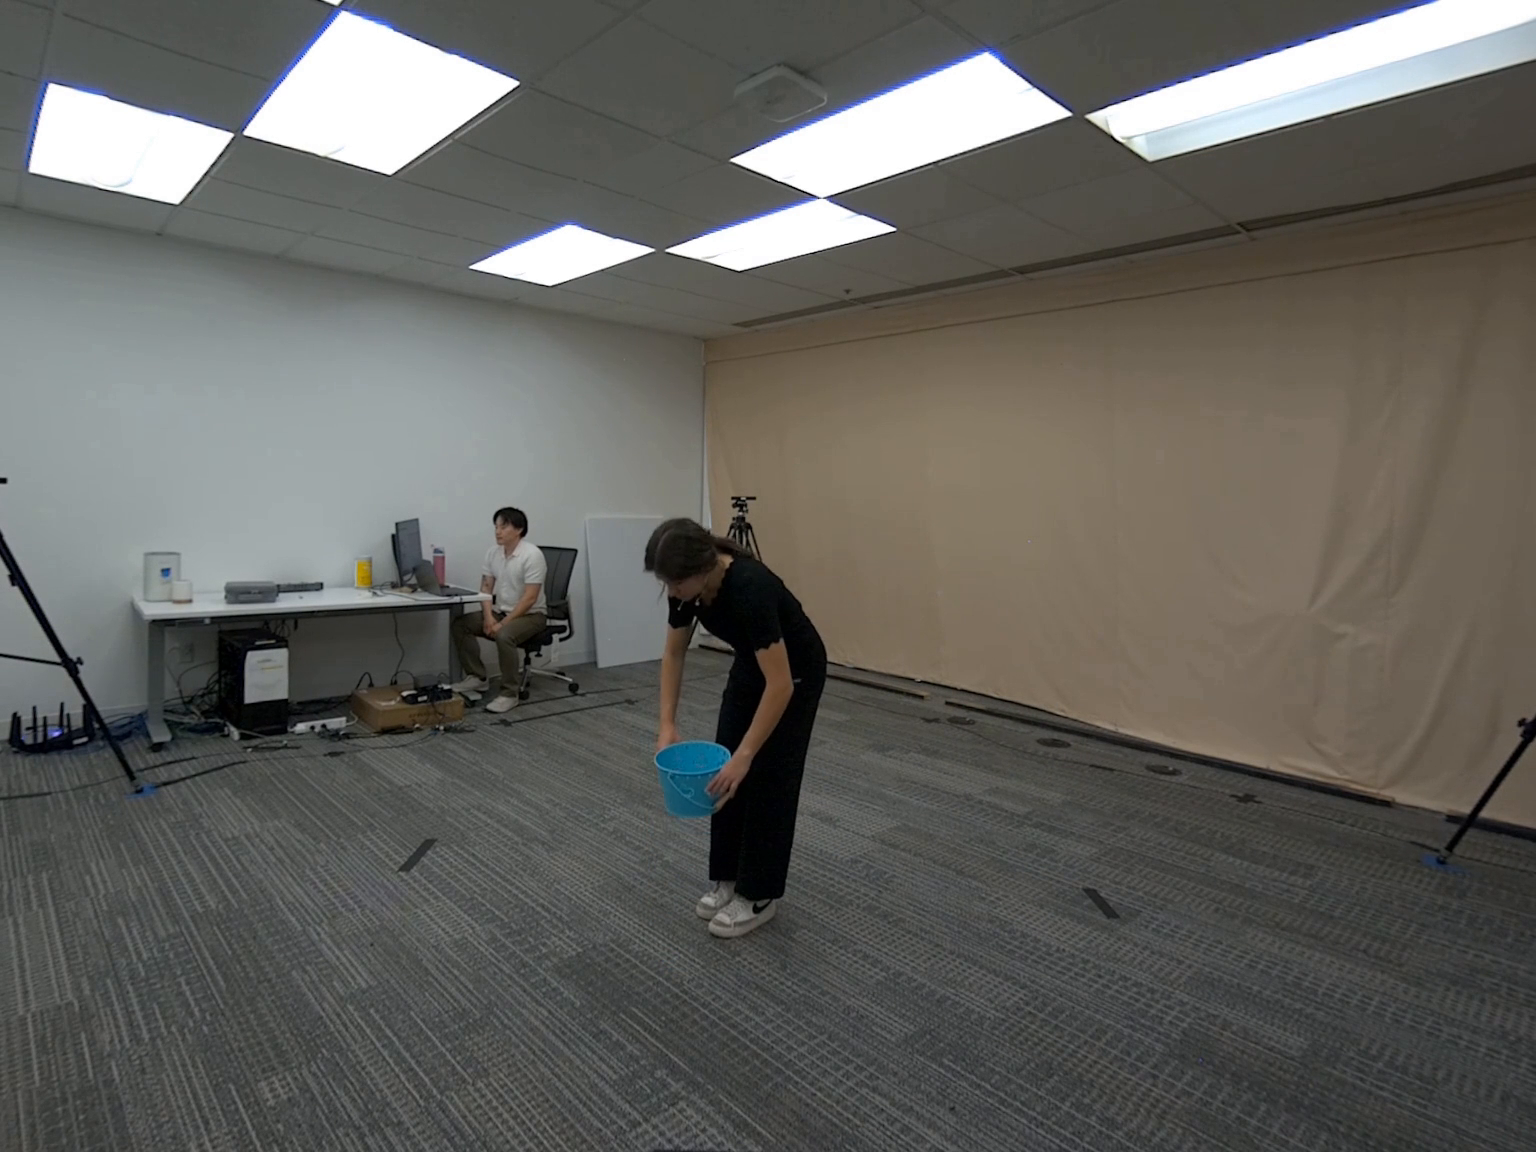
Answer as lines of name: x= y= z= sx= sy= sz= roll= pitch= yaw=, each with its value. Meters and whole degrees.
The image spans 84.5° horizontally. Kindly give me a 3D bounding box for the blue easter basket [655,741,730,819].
blue easter basket: x=-0.241 y=0.629 z=2.563 sx=0.243 sy=0.155 sz=0.245 roll=-2 pitch=9 yaw=-1
